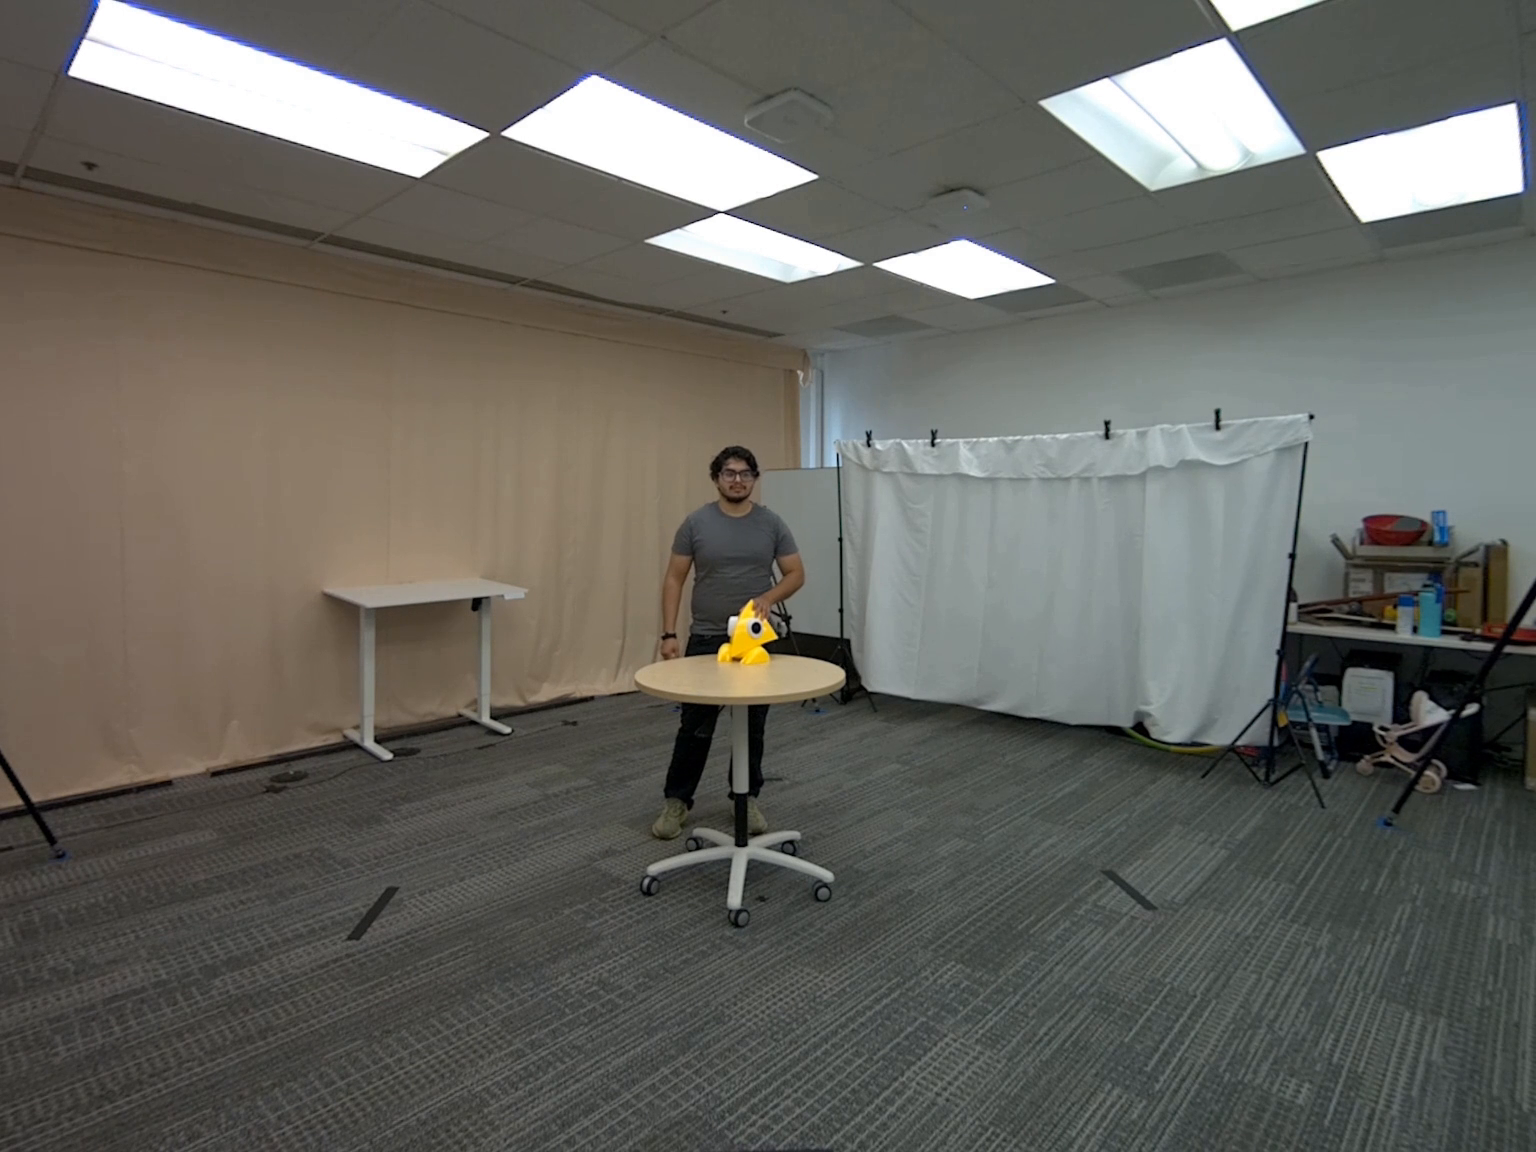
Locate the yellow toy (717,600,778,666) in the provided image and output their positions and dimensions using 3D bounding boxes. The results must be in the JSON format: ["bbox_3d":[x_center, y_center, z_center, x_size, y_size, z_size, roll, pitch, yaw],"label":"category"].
[{"bbox_3d":[-0.094,0.215,3.330,0.211,0.230,0.188,2,5,32],"label":"yellow toy"}]
